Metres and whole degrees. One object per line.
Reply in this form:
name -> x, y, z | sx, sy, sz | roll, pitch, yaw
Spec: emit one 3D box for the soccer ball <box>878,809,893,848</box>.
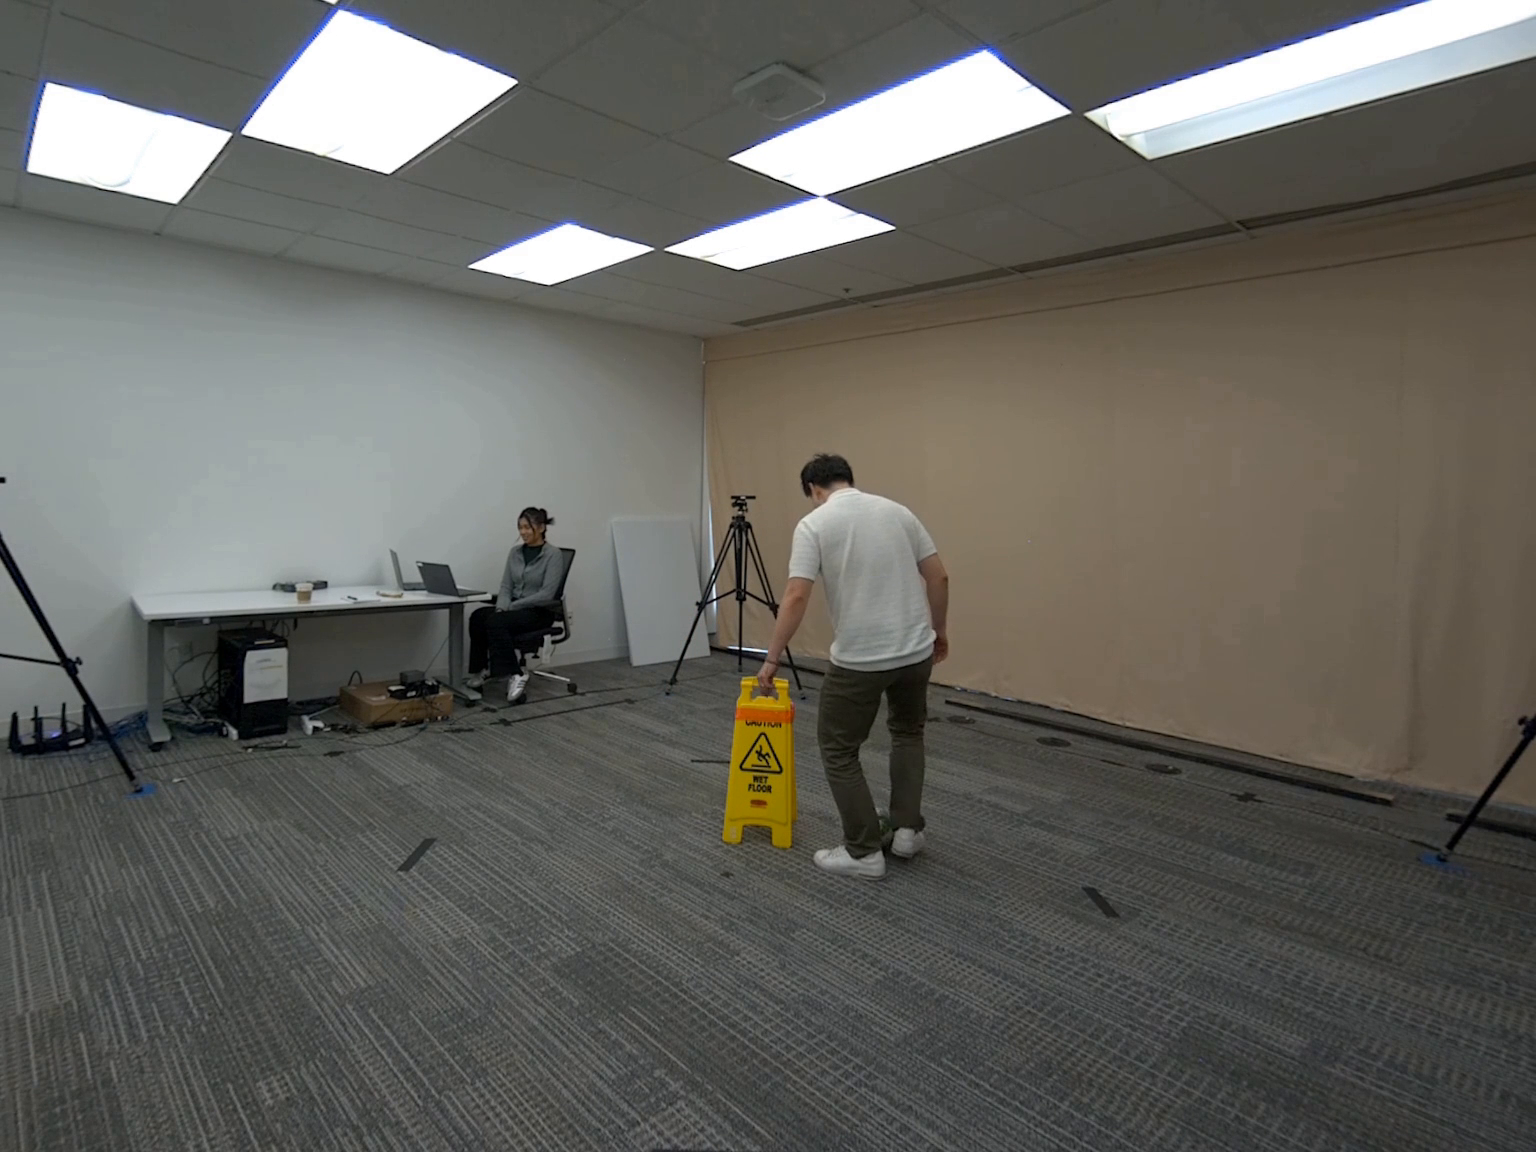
soccer ball -> 0.409, 1.005, 3.351 | 0.187, 0.187, 0.188 | 1, 4, -1
